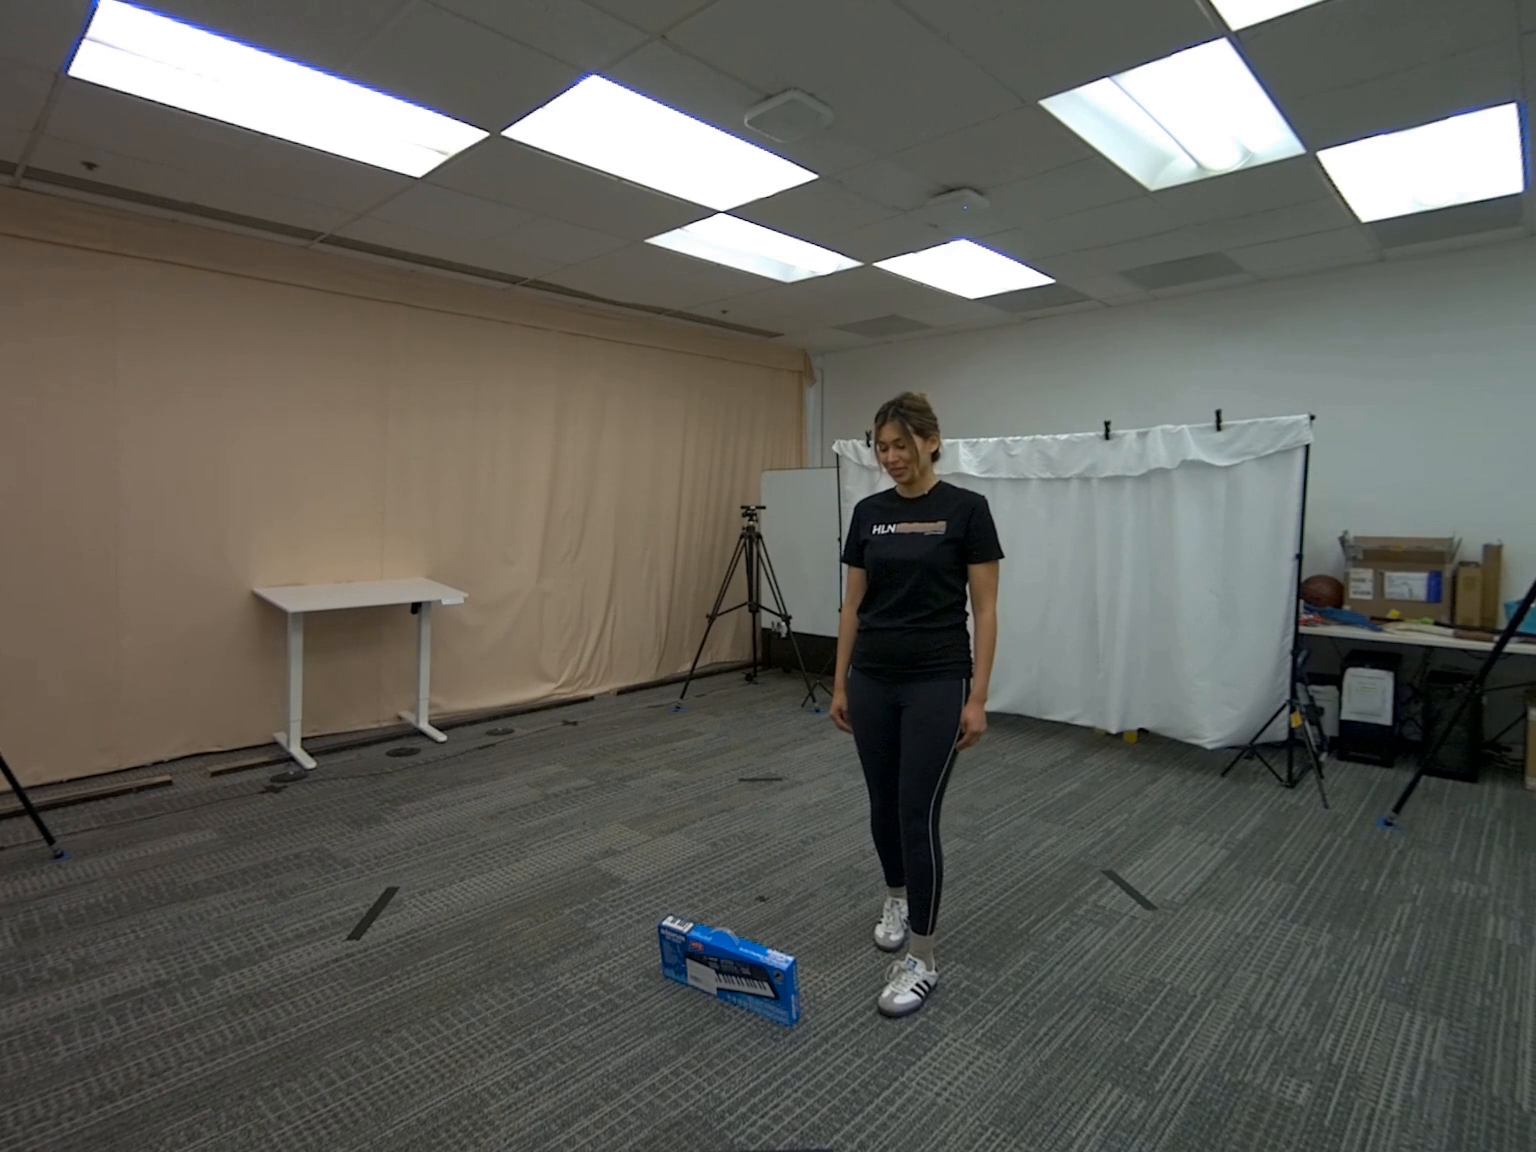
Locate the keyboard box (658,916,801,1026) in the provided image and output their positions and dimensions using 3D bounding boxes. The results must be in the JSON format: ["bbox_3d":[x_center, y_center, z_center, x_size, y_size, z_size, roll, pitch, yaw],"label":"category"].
[{"bbox_3d":[-0.116,1.110,2.375,0.450,0.174,0.058,2,13,33],"label":"keyboard box"}]
